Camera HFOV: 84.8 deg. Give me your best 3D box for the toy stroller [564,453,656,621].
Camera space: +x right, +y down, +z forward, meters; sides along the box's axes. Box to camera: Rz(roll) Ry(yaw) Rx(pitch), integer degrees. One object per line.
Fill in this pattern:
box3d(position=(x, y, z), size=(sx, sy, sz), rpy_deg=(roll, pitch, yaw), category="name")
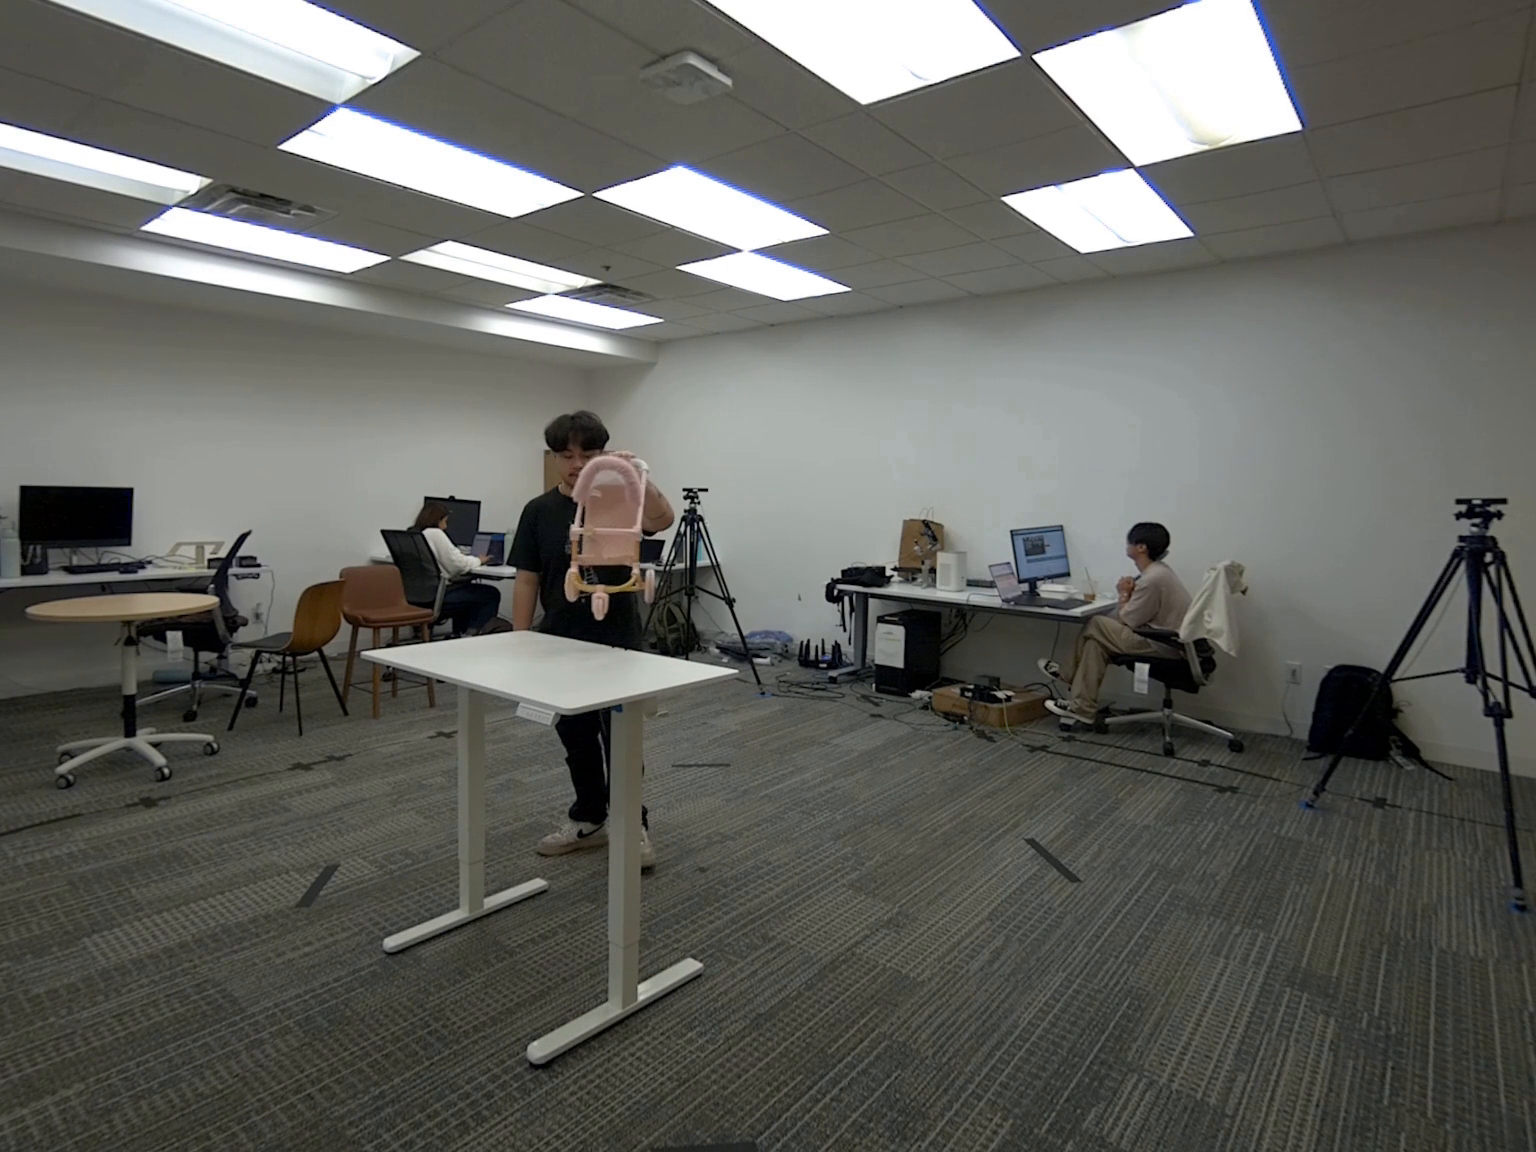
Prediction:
box3d(position=(-0.505, -0.130, 2.640), size=(0.283, 0.537, 0.338), rpy_deg=(3, -5, 3), category="toy stroller")
